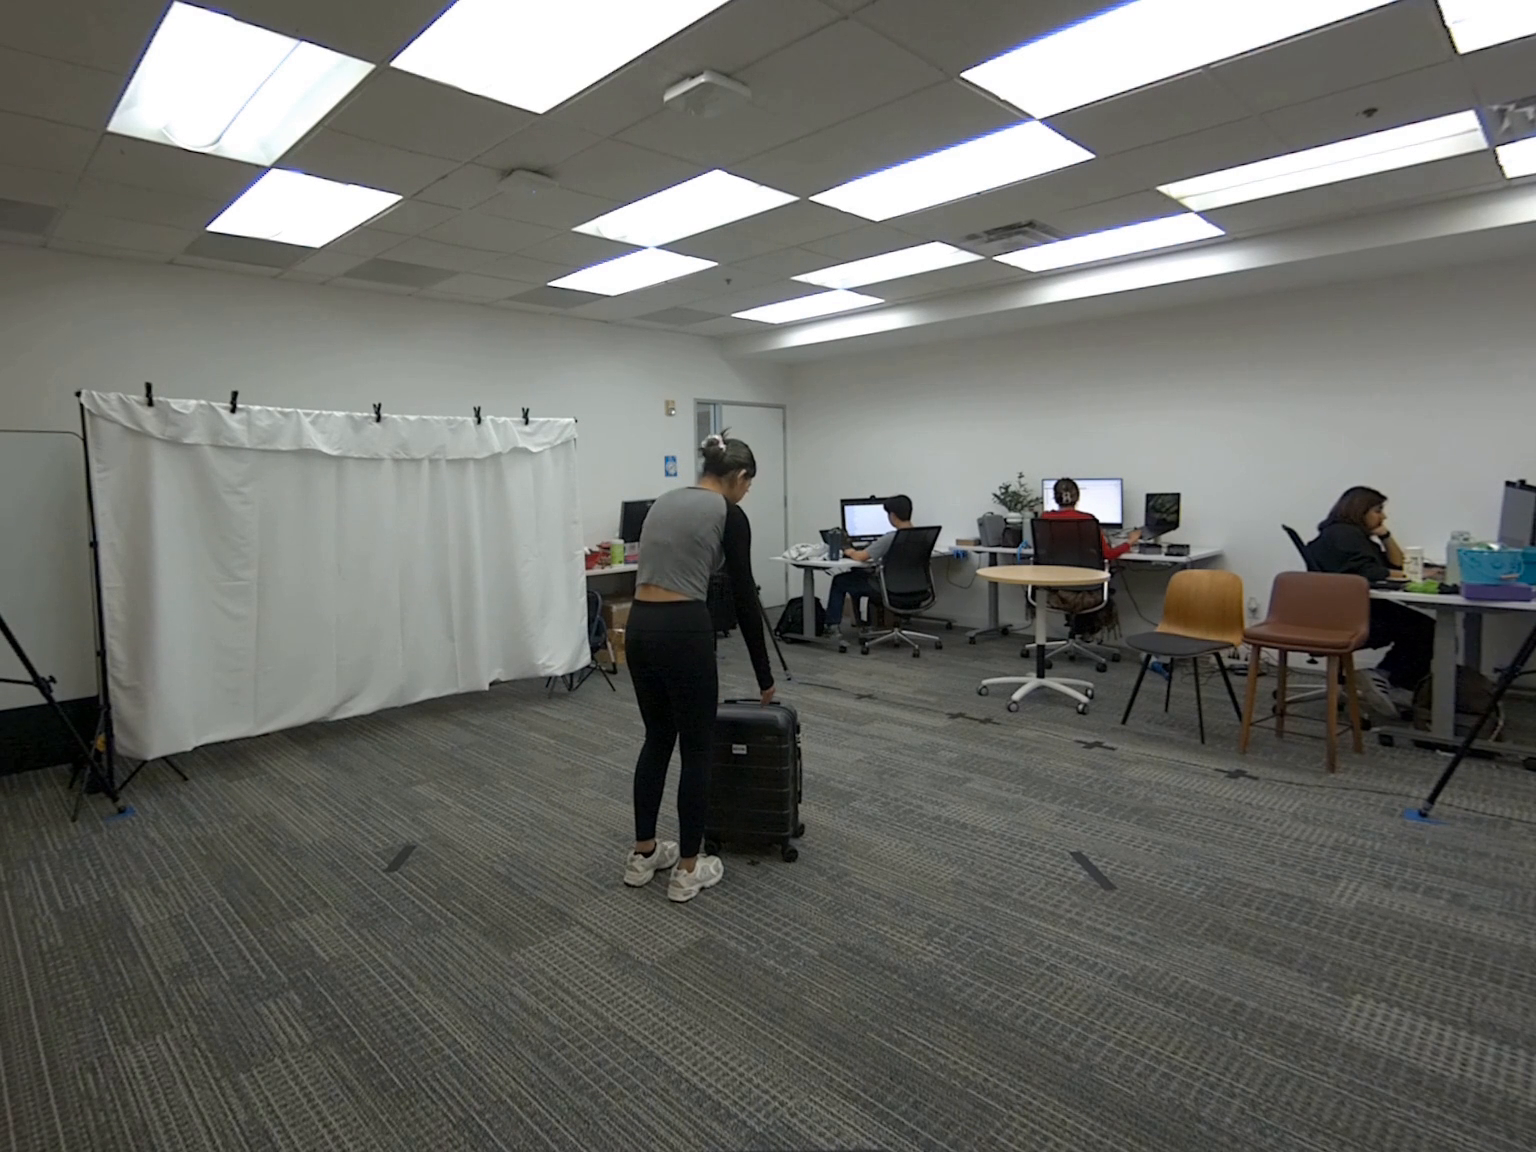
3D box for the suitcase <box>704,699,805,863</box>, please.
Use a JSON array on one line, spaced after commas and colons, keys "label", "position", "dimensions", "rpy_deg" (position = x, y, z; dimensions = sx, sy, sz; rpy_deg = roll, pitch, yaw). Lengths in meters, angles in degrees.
[{"label": "suitcase", "position": [-0.060, 0.750, 3.238], "dimensions": [0.381, 0.547, 0.246], "rpy_deg": [0, 4, 14]}]
